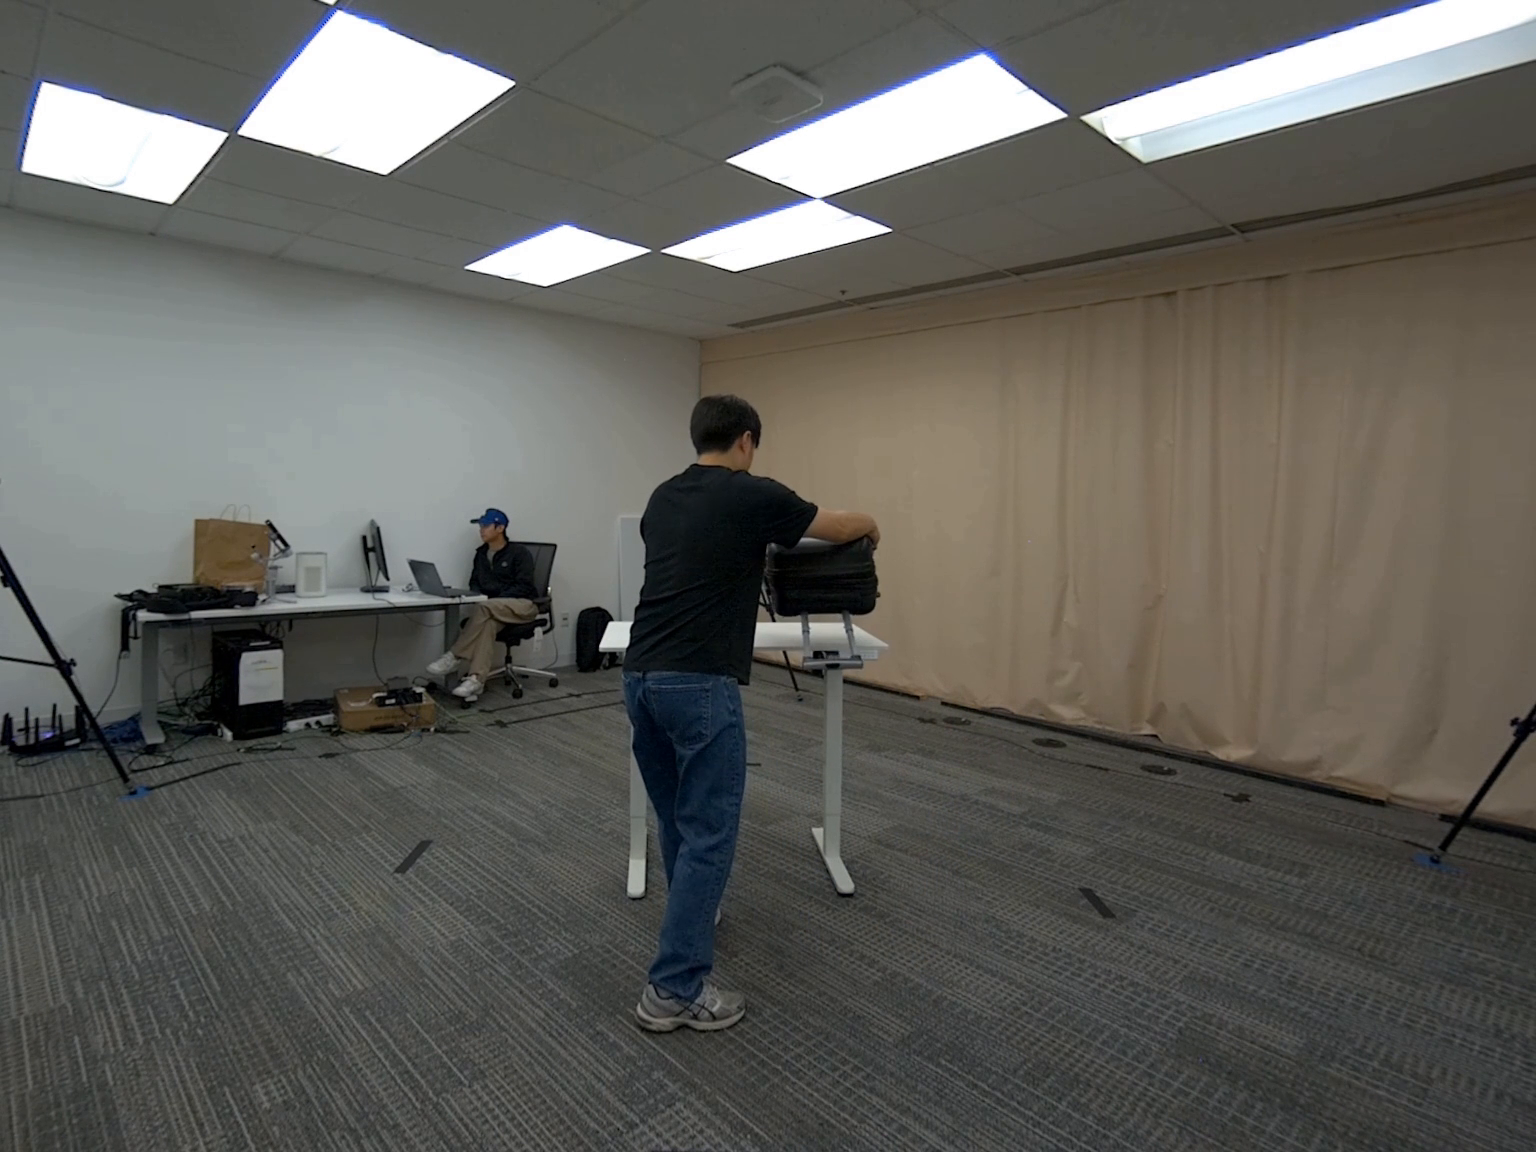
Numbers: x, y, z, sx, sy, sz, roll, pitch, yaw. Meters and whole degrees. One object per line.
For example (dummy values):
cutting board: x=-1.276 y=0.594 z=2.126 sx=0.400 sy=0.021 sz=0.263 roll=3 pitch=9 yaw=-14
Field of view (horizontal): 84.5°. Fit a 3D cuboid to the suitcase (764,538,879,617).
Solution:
suitcase: x=0.158 y=0.009 z=2.704 sx=0.386 sy=0.255 sz=0.981 roll=-4 pitch=11 yaw=6
